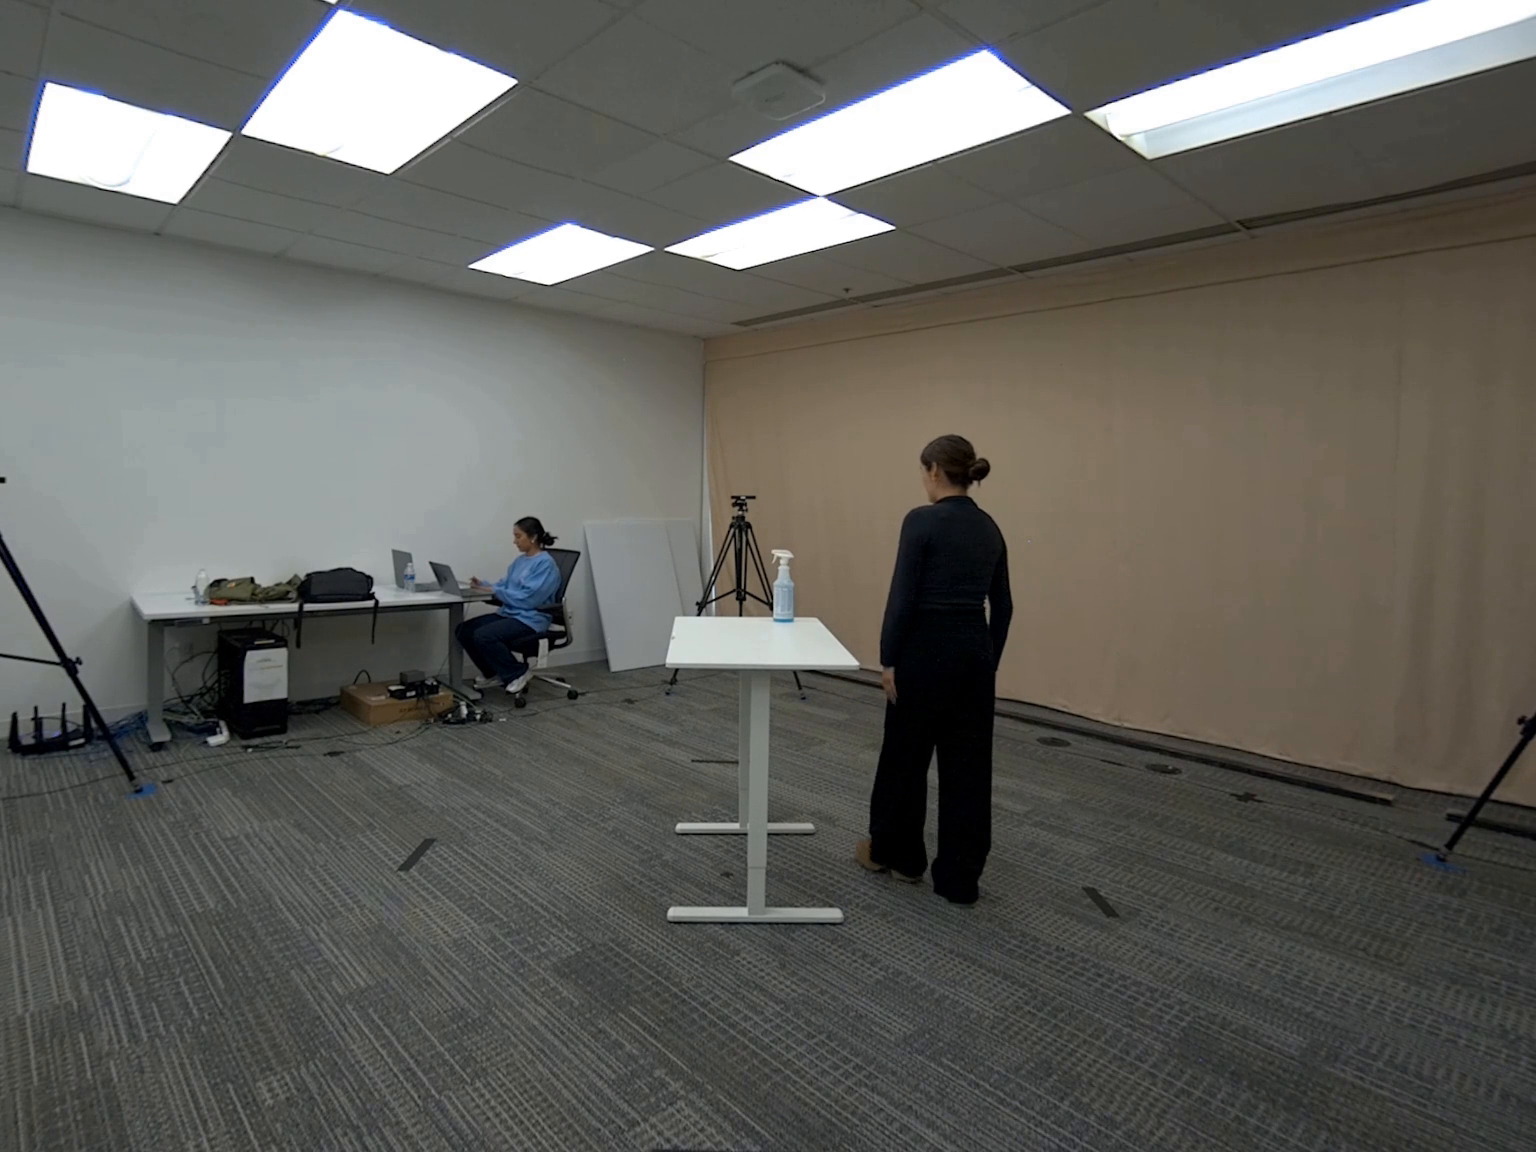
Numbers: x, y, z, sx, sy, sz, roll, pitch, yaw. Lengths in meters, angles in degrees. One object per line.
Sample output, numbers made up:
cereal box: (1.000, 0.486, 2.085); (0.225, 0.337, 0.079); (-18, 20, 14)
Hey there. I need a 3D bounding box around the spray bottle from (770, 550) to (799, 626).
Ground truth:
spray bottle: (0.065, 0.046, 3.483); (0.091, 0.297, 0.086); (2, 3, 21)
